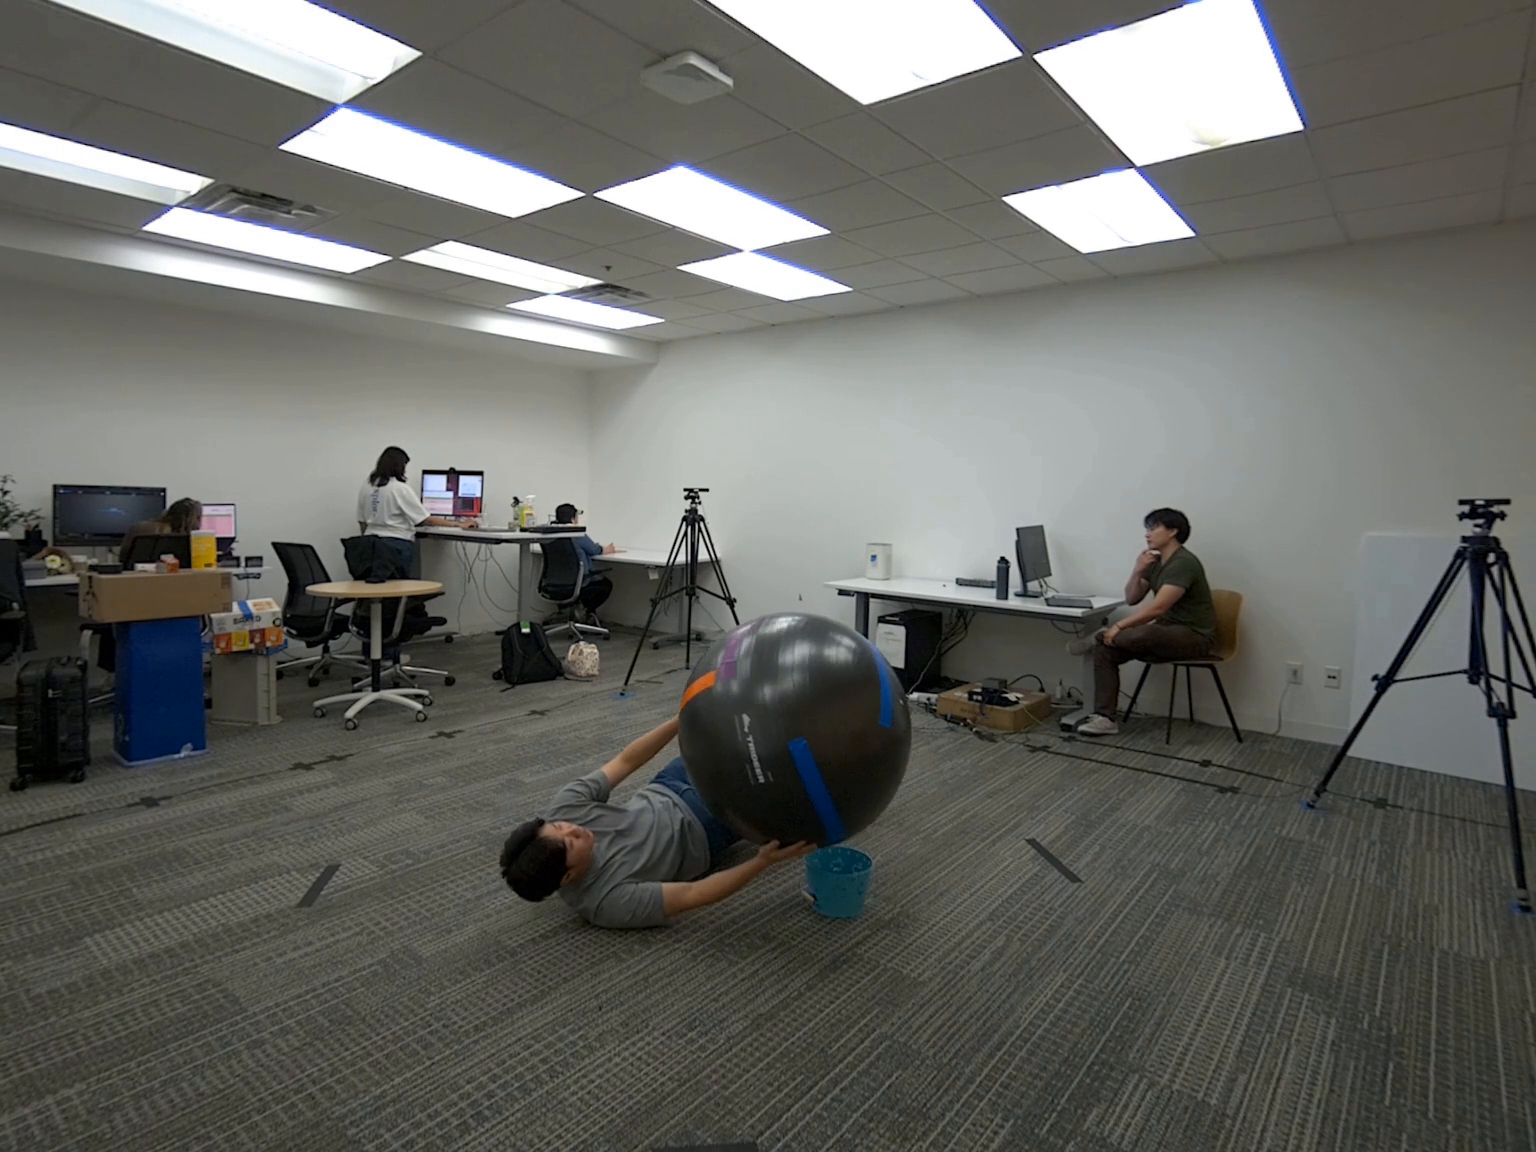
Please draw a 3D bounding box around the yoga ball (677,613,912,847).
[{"bbox_3d":[0.062,0.494,2.789,0.757,0.756,0.762,1,4,-2],"label":"yoga ball"}]
